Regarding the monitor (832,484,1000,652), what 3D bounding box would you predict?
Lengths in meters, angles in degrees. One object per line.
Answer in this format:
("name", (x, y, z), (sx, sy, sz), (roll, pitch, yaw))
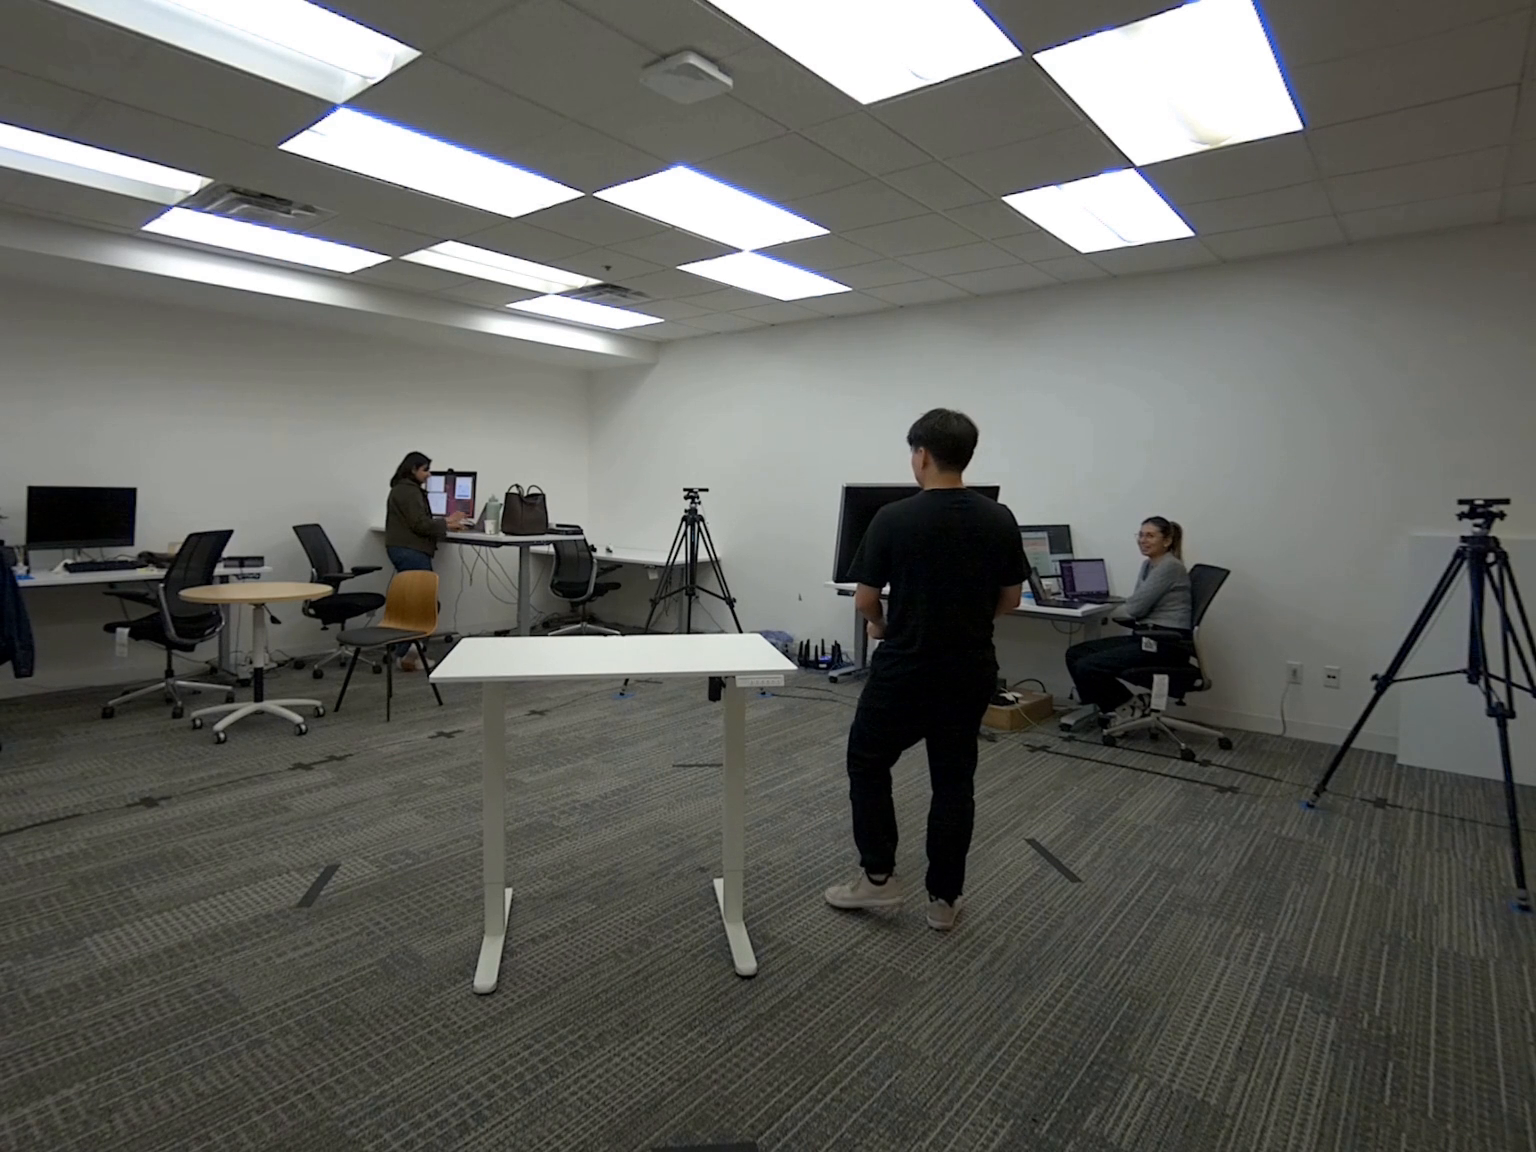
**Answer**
("monitor", (0.511, -0.049, 2.943), (0.534, 0.517, 0.191), (0, 11, -9))
